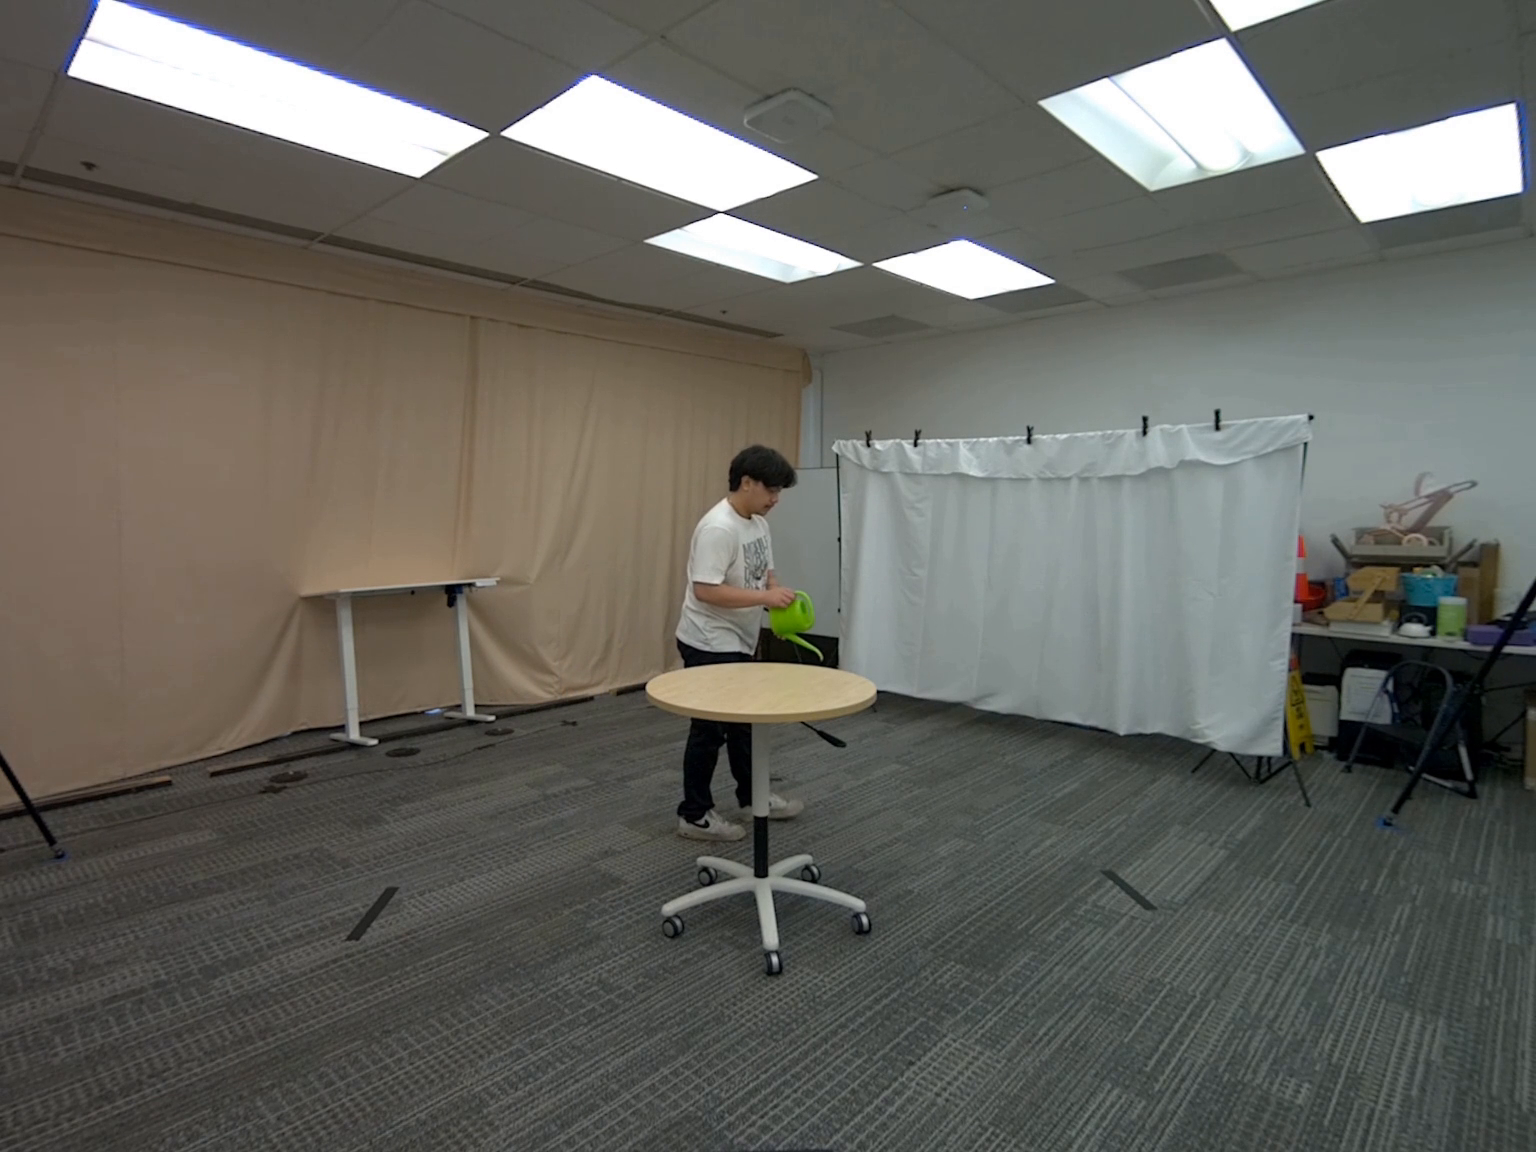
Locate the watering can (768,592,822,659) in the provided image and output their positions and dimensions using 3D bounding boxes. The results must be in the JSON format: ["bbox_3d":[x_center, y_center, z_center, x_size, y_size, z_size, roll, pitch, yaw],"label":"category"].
[{"bbox_3d":[0.116,0.202,3.324,0.181,0.281,0.095,-14,-17,29],"label":"watering can"}]
